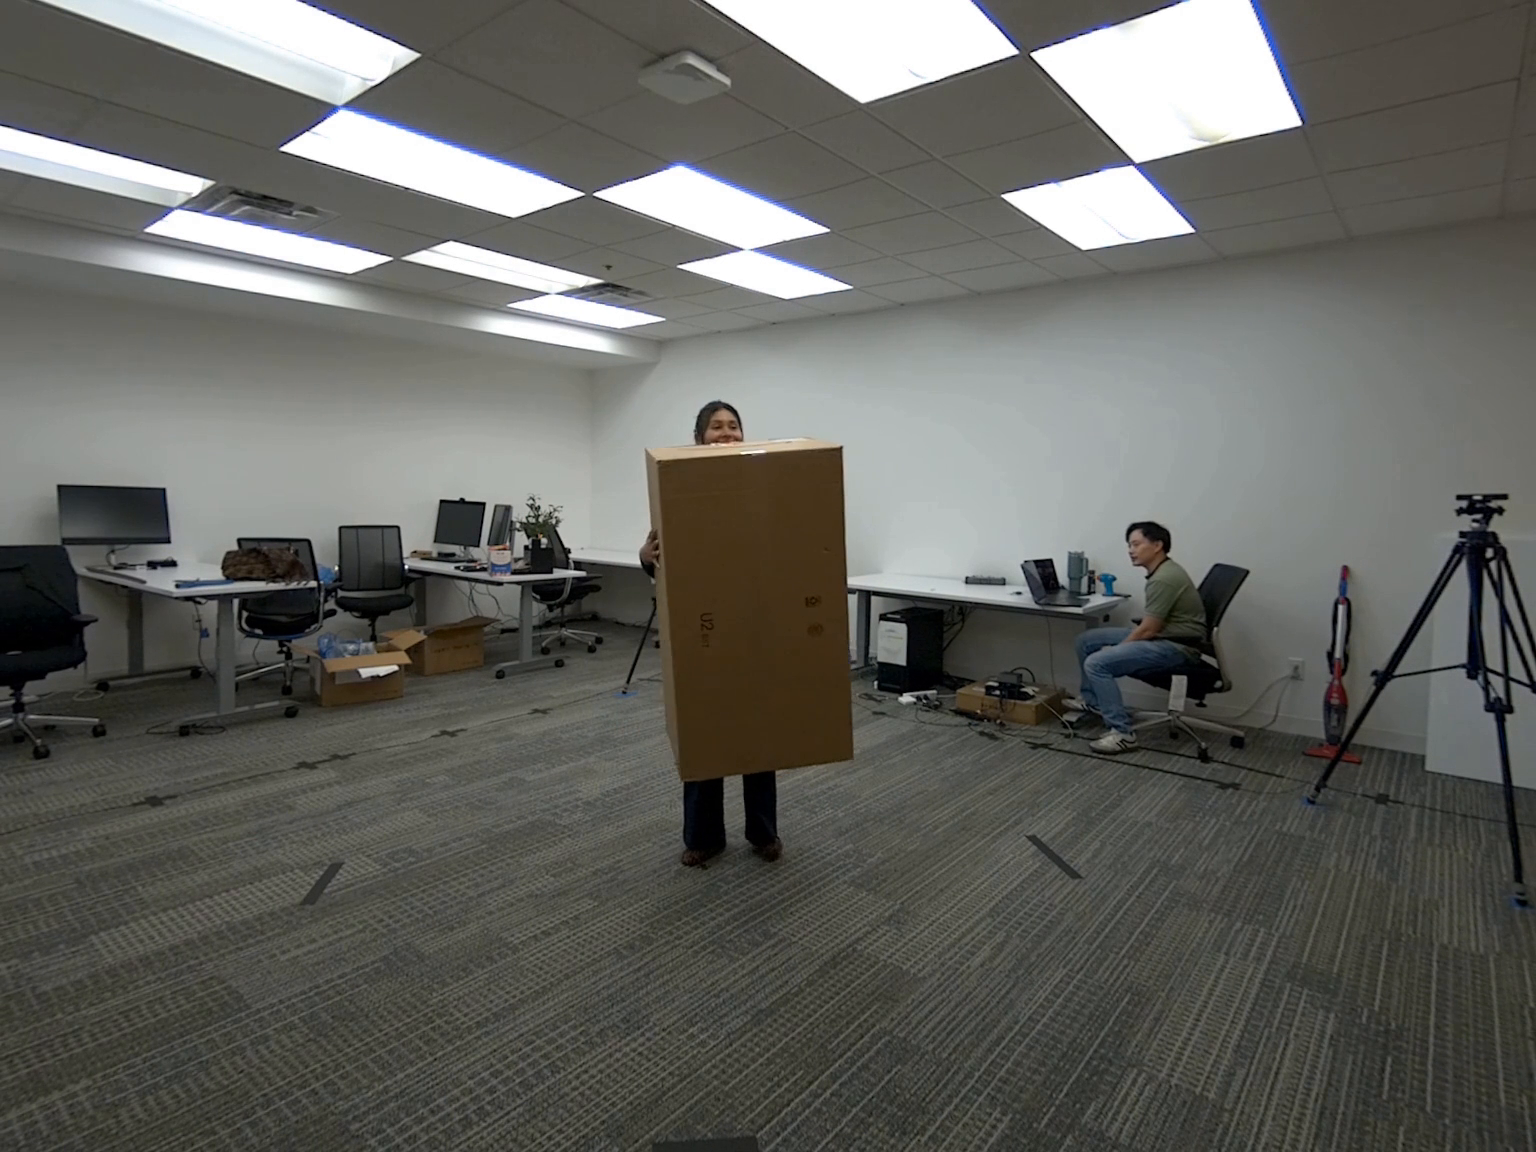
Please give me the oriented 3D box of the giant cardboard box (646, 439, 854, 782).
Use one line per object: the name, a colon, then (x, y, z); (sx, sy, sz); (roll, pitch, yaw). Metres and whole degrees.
giant cardboard box: (-0.074, 0.079, 2.831); (0.572, 1.013, 0.436); (-5, 12, -11)
